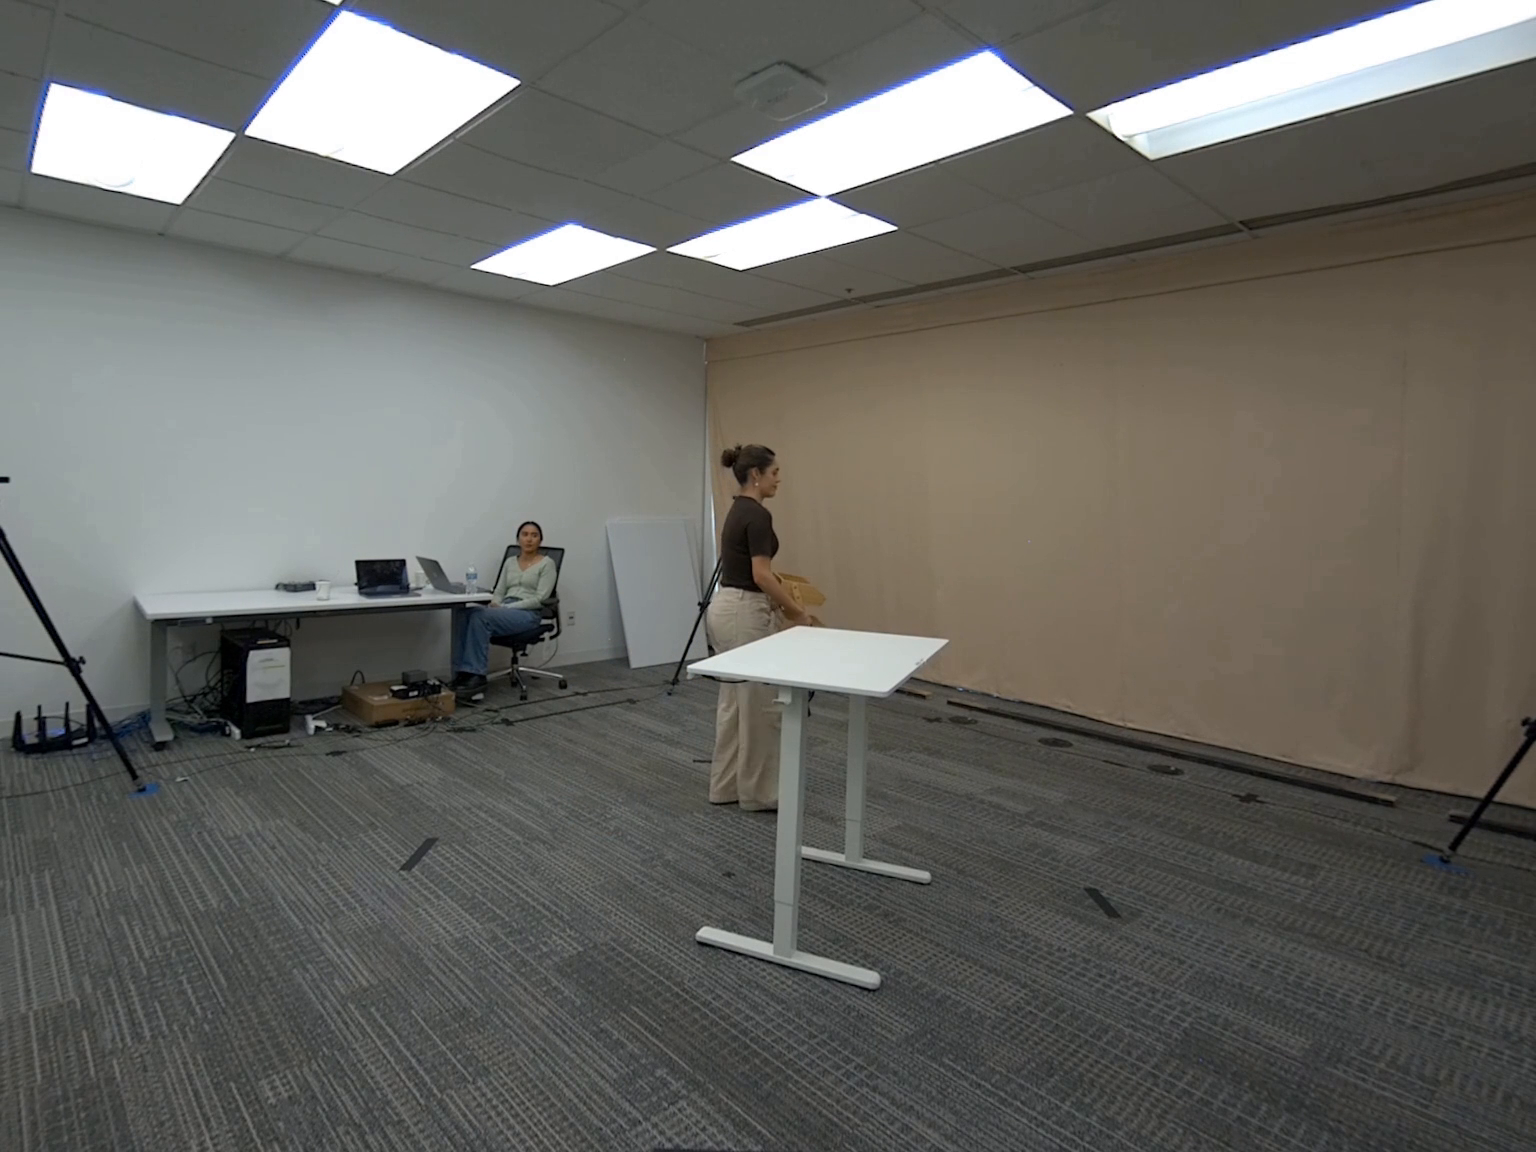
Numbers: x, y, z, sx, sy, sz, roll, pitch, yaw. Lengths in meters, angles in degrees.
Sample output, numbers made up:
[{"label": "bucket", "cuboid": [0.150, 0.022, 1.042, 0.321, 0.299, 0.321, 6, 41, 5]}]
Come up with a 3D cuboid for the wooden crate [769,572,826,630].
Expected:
[{"label": "wooden crate", "cuboid": [0.155, 0.145, 3.828, 0.300, 0.272, 0.327, 10, 5, -8]}]
